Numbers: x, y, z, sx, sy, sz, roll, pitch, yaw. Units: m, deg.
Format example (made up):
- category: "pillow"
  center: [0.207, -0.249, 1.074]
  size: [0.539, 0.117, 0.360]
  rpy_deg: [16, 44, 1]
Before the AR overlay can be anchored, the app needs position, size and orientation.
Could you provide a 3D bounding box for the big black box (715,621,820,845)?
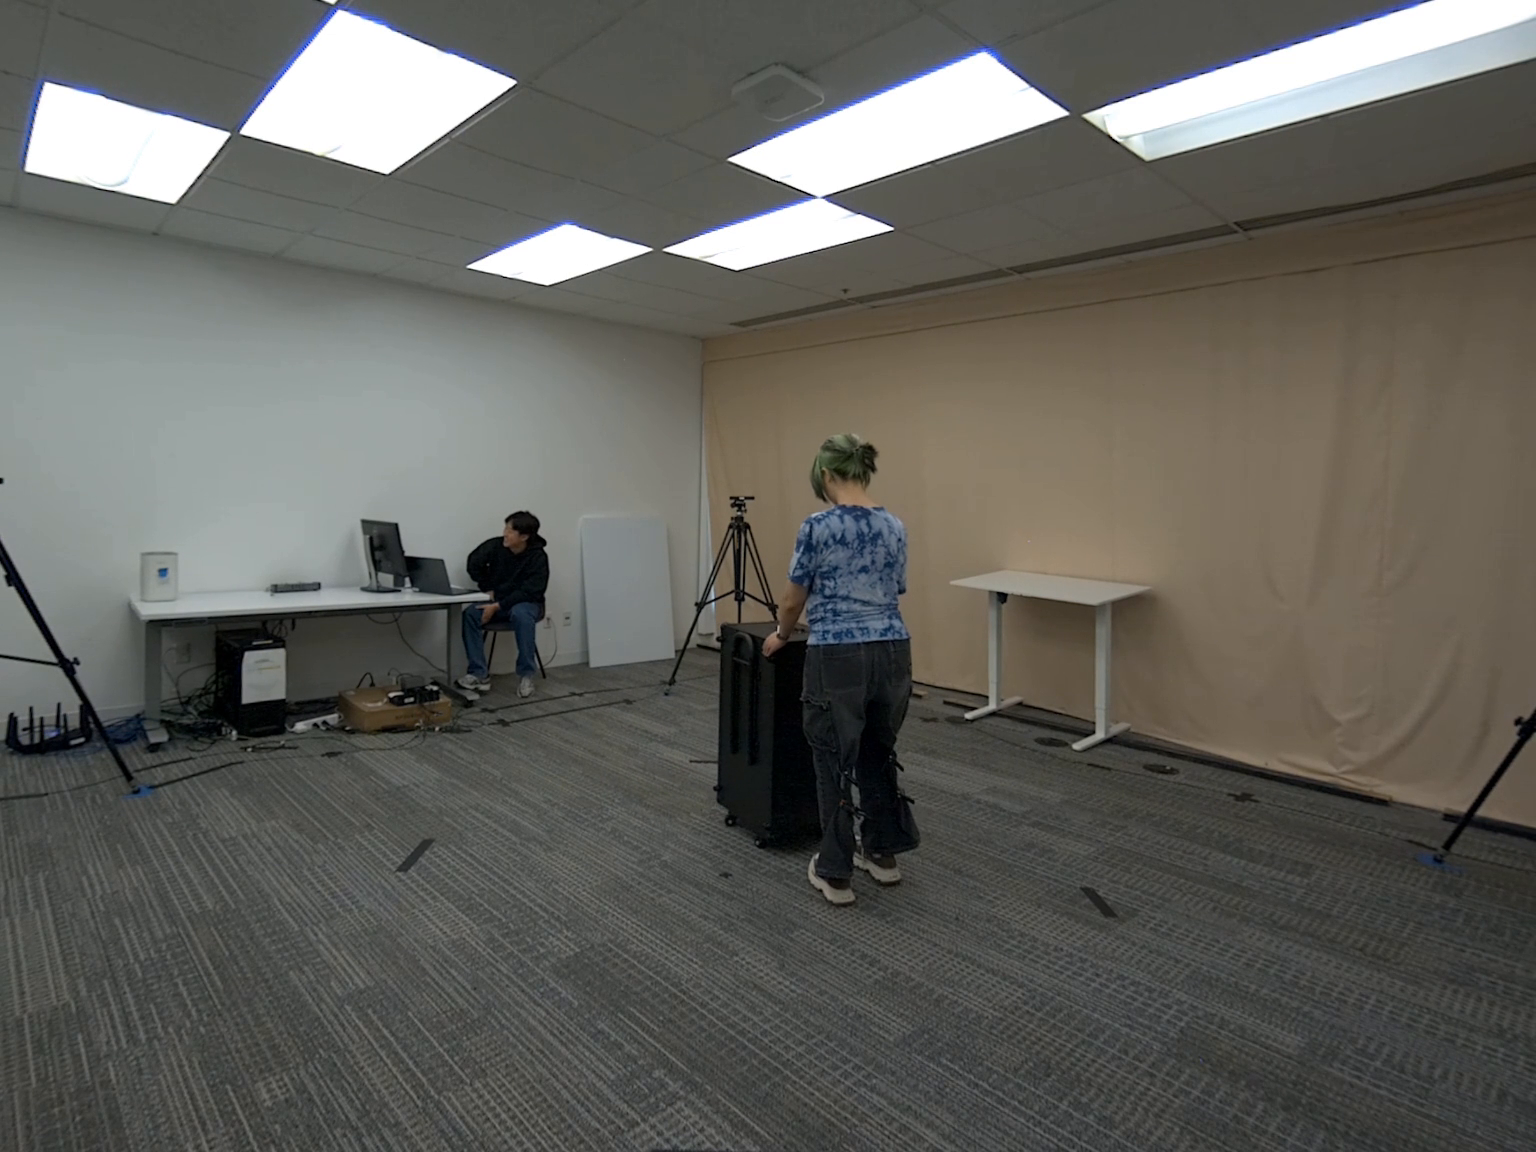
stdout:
- category: "big black box"
  center: [0.040, 0.650, 3.495]
  size: [0.389, 0.859, 0.532]
  rpy_deg: [-1, 4, -27]
